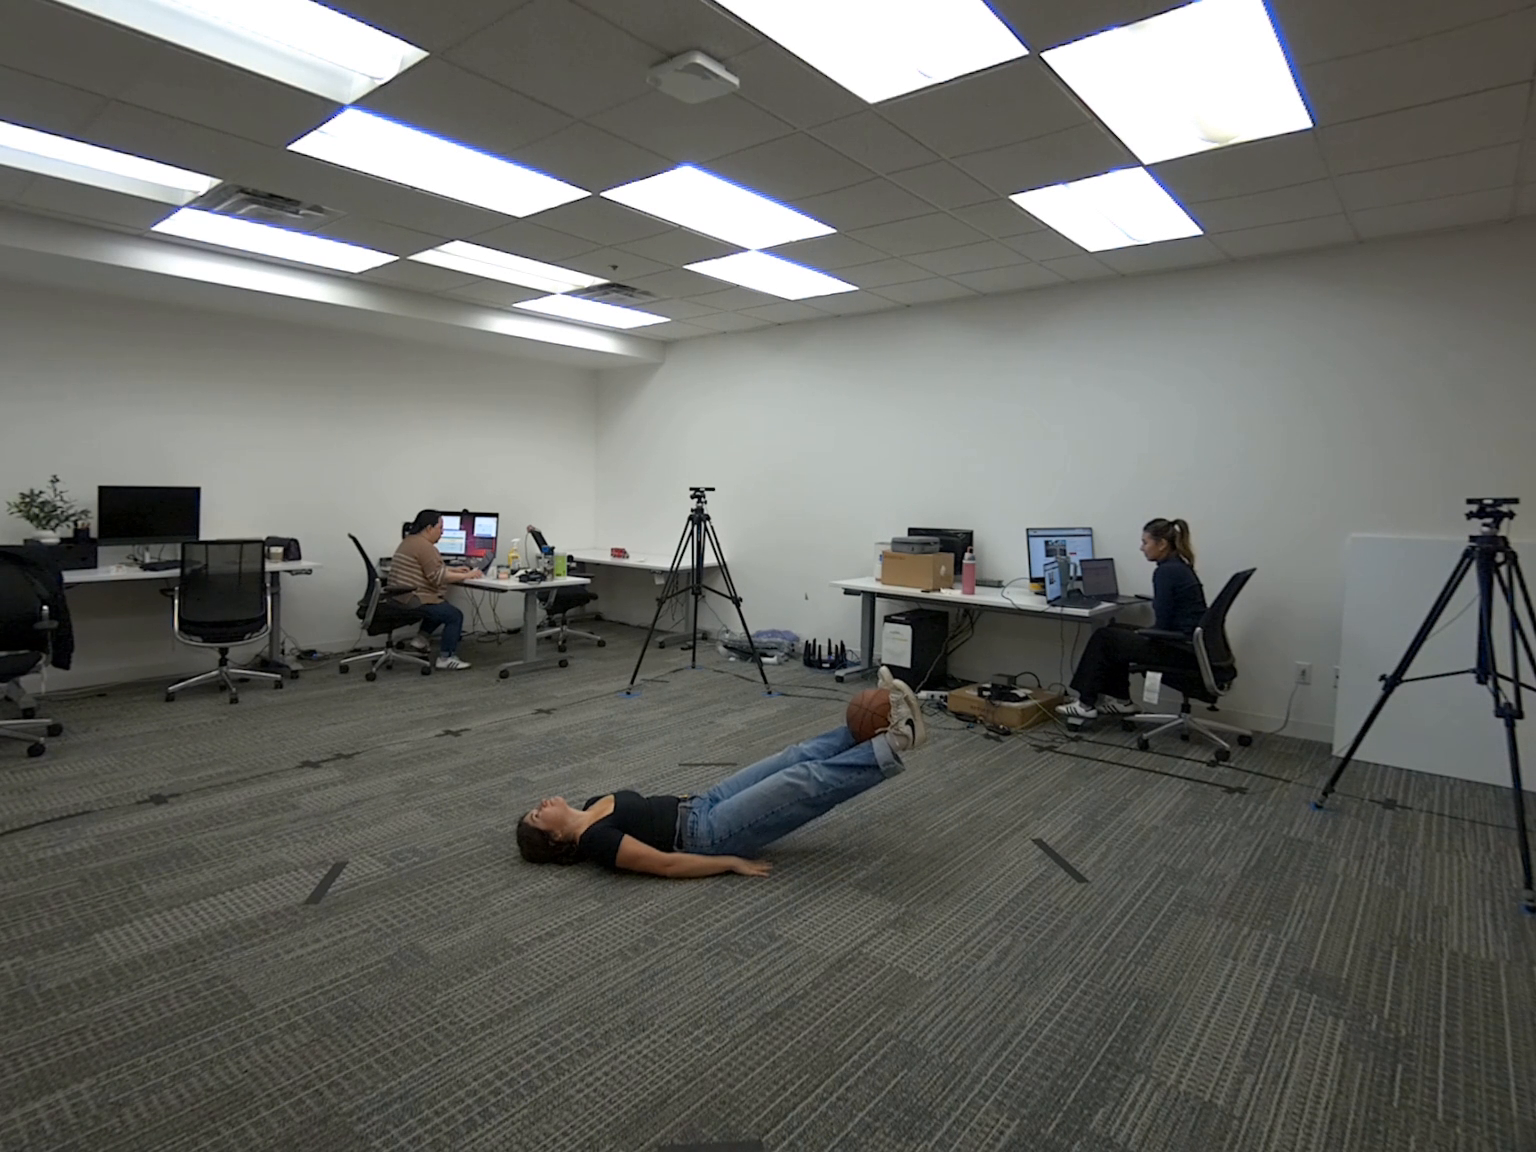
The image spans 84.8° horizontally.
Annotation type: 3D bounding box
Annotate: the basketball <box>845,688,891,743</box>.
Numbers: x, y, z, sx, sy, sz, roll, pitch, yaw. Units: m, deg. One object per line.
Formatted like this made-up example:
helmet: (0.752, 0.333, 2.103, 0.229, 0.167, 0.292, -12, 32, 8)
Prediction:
basketball: (0.421, 0.554, 3.297, 0.235, 0.235, 0.237, 1, 4, -2)
